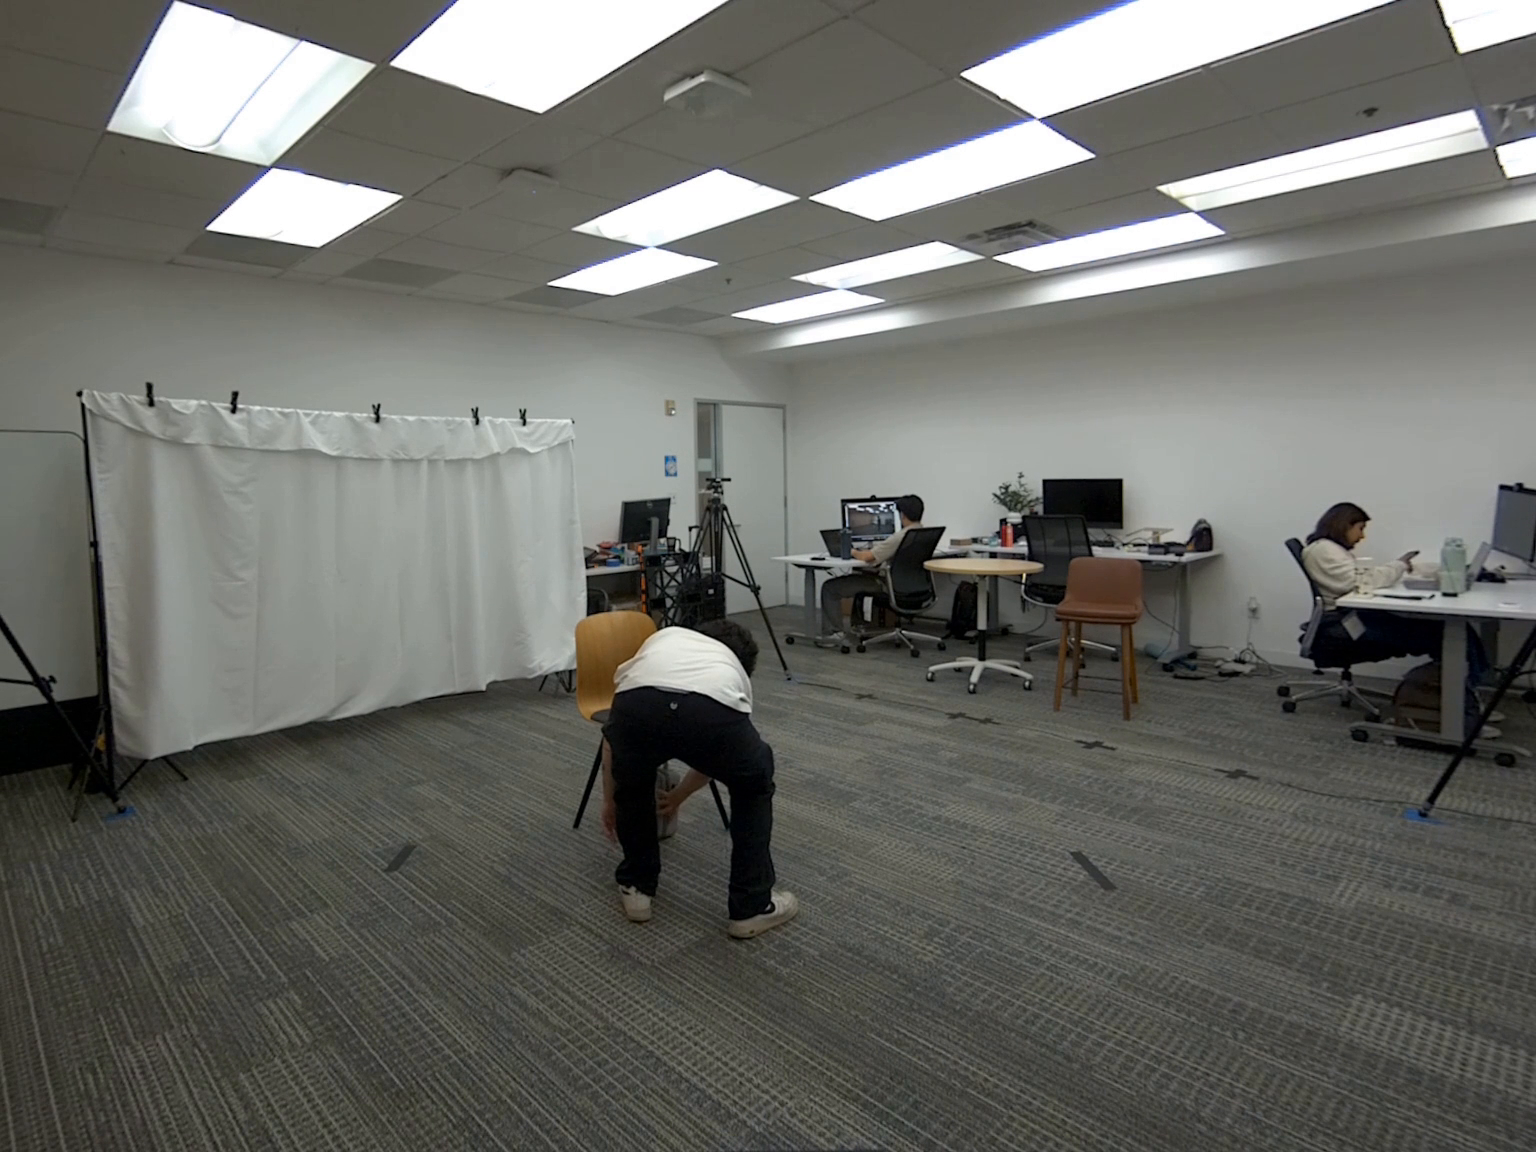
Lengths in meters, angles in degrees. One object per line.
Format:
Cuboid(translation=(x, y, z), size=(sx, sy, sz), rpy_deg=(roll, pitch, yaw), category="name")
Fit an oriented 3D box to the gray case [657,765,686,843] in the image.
Cuboid(translation=(-0.463, 0.886, 3.412), size=(0.101, 0.261, 0.265), rpy_deg=(7, -2, -41), category="gray case")
